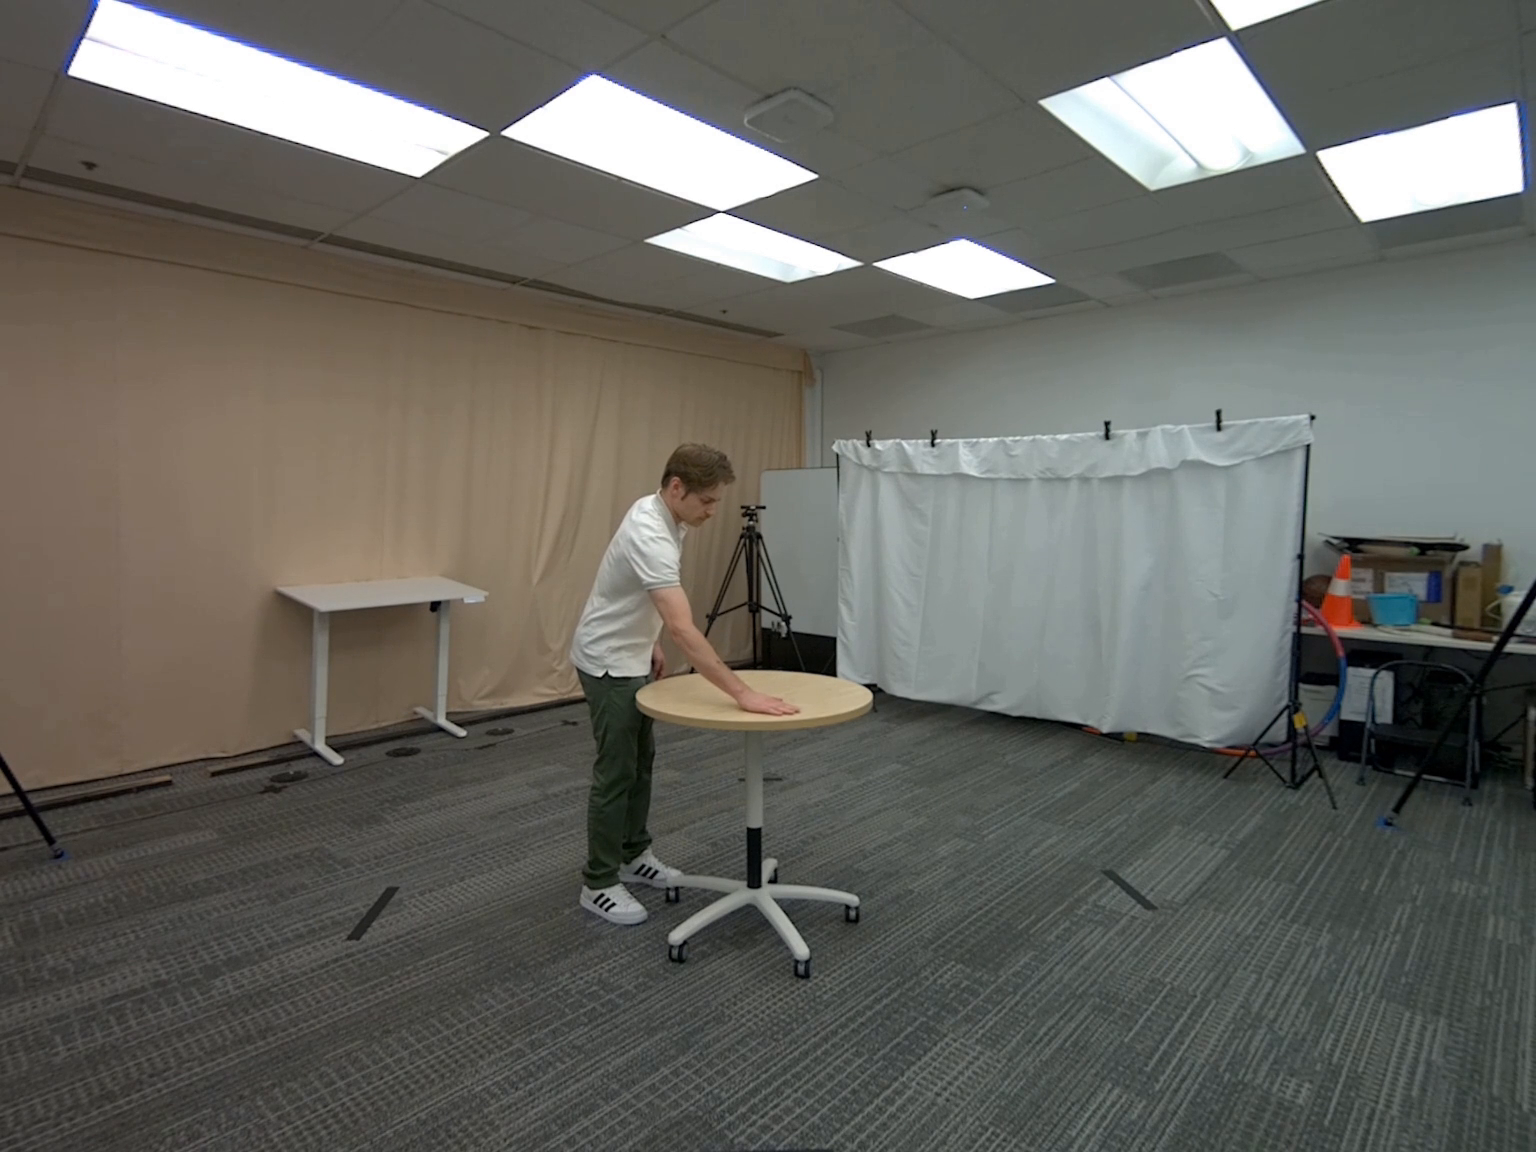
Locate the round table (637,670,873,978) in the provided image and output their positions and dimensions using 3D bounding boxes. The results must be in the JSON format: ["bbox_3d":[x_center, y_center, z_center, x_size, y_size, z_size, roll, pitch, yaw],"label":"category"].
[{"bbox_3d":[-0.035,0.771,2.744,0.784,0.785,0.787,-1,3,-2],"label":"round table"}]
